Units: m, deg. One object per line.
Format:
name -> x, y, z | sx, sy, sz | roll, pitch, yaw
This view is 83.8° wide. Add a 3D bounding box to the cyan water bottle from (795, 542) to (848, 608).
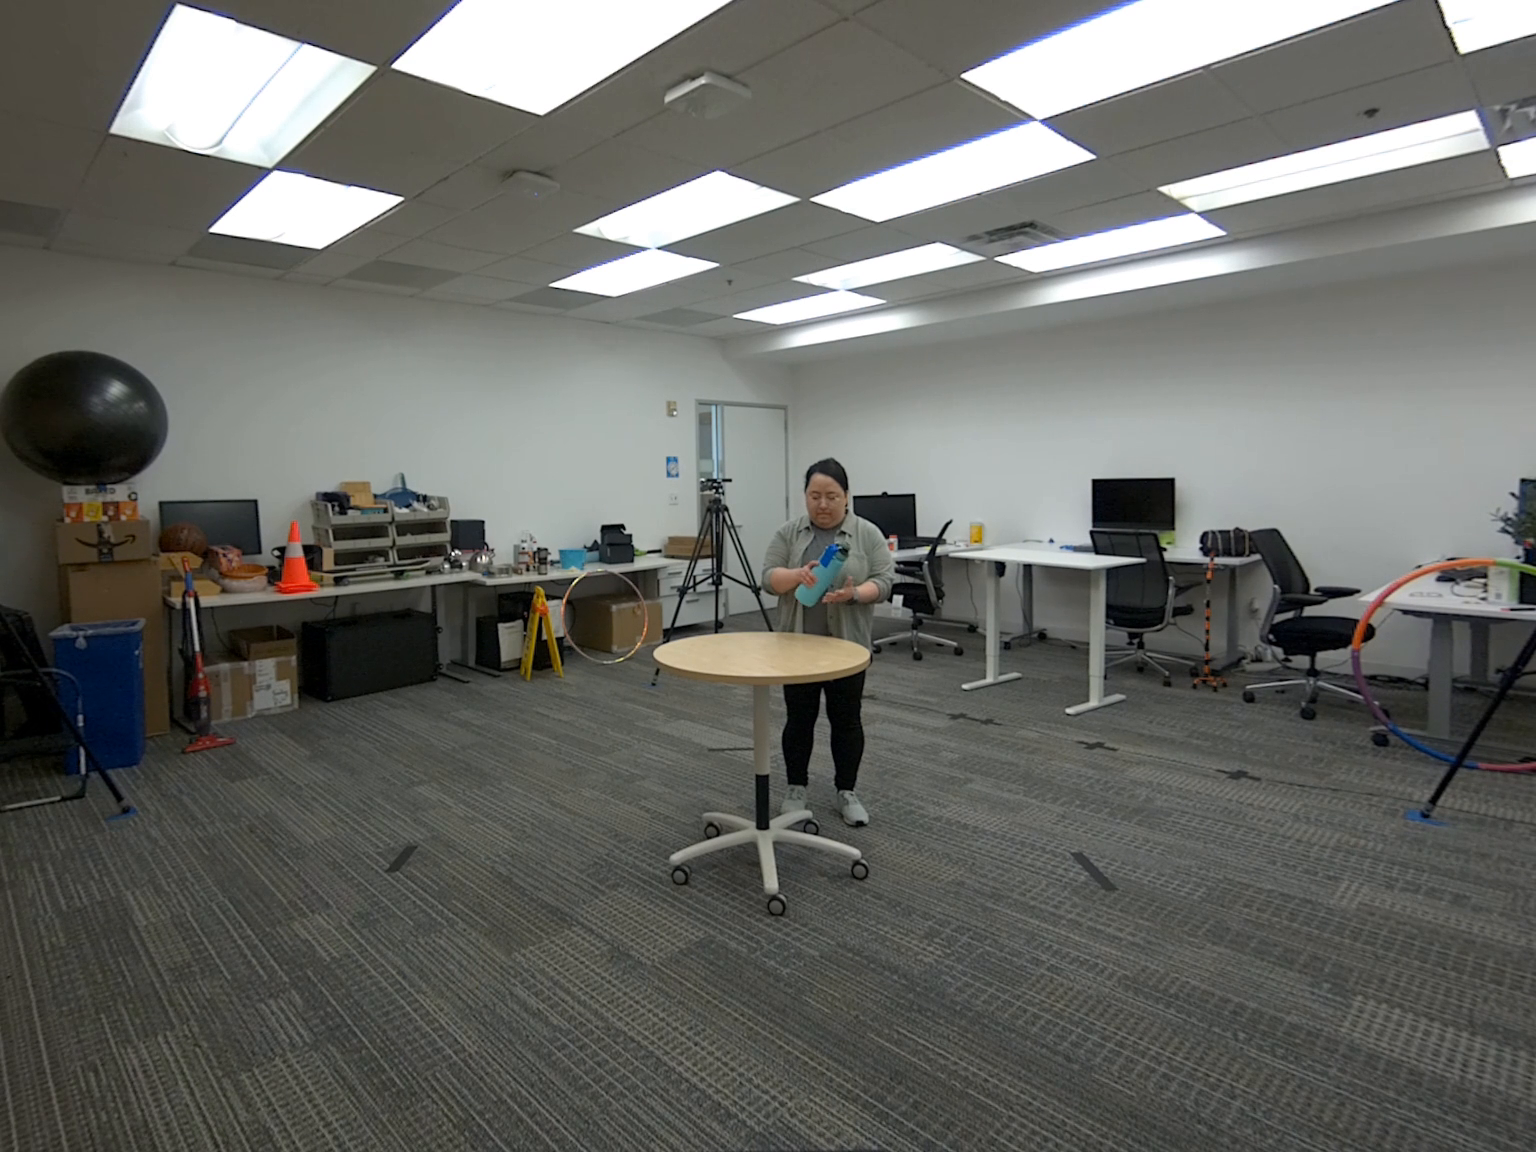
cyan water bottle -> 0.215, -0.013, 3.243 | 0.091, 0.281, 0.094 | 25, 25, -15
